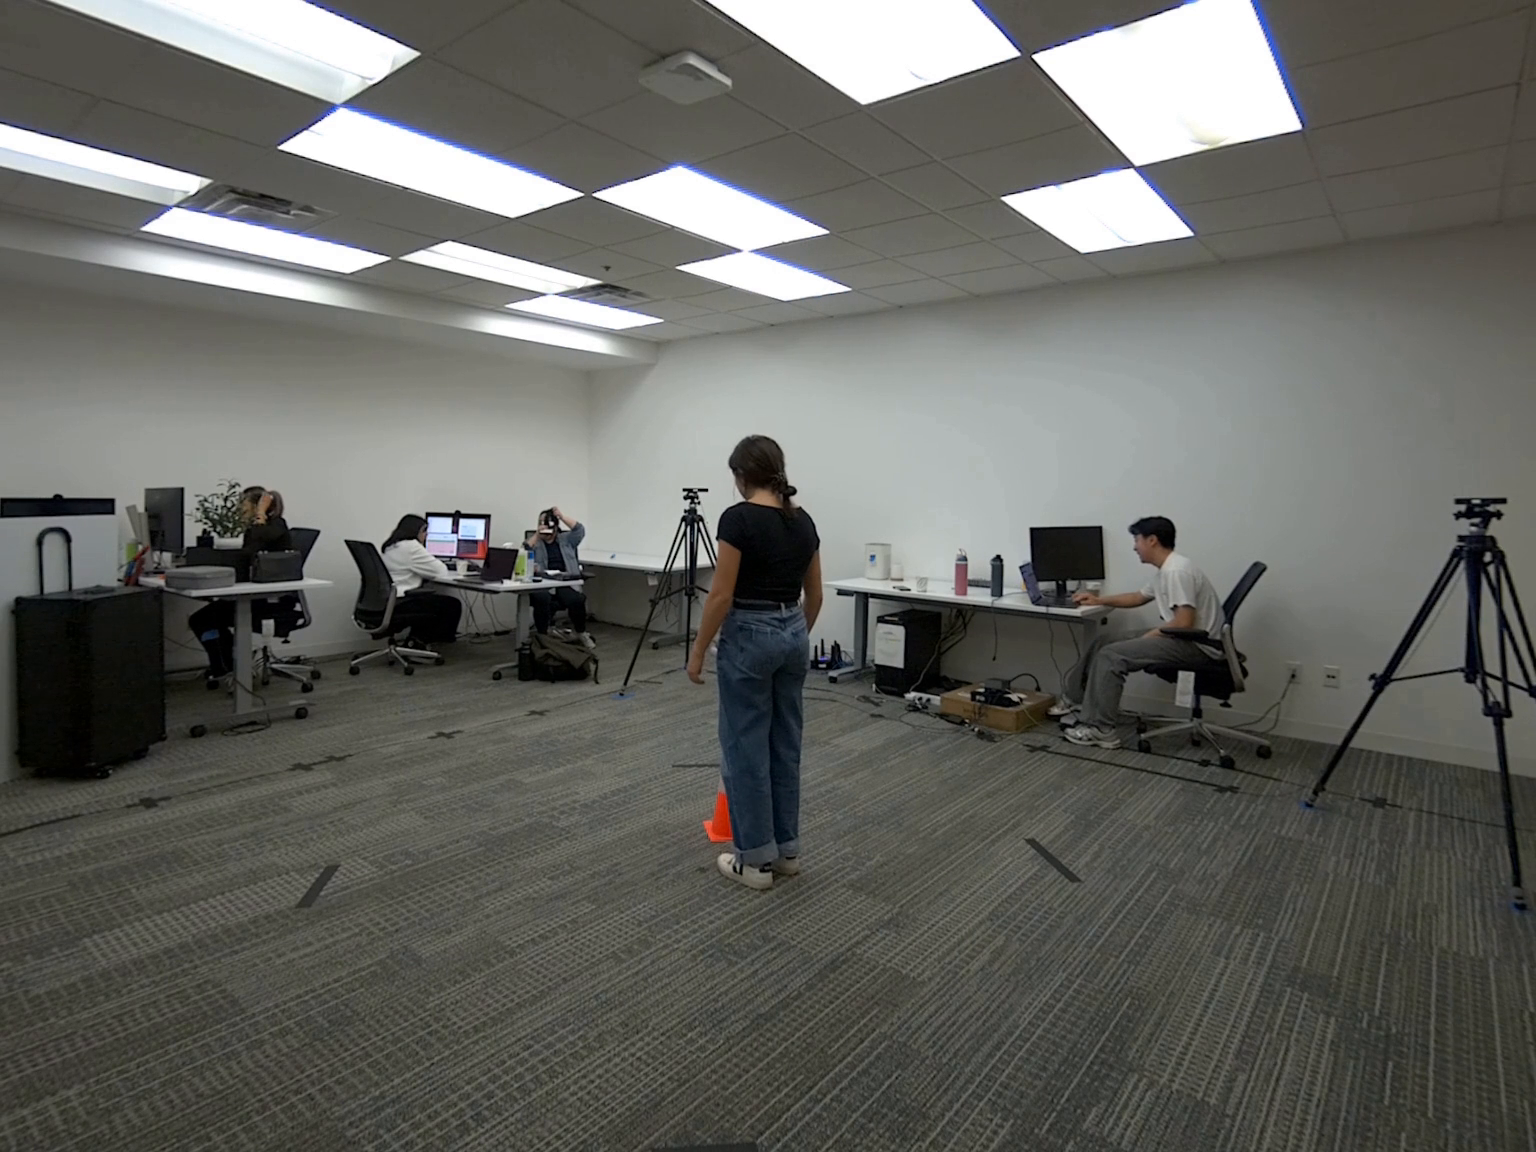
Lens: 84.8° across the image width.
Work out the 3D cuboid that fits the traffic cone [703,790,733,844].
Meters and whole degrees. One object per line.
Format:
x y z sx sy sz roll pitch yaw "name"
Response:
-0.145 0.840 3.468 0.201 0.383 0.208 0 3 -12 "traffic cone"
